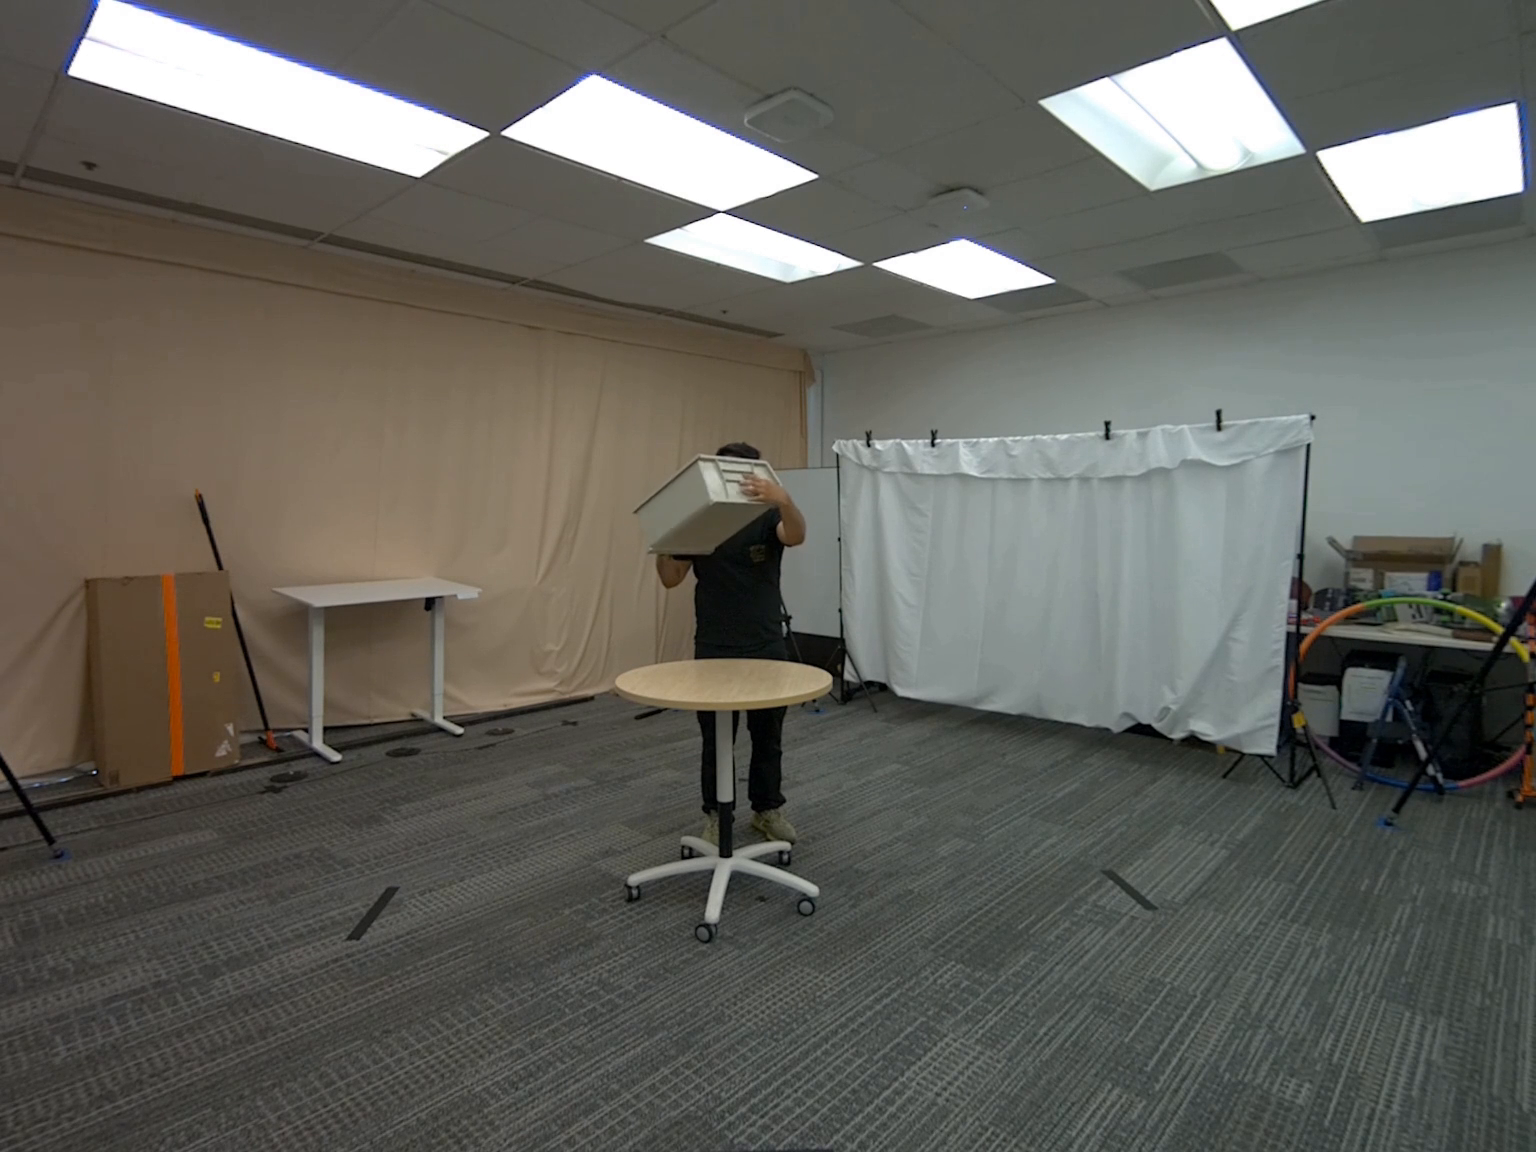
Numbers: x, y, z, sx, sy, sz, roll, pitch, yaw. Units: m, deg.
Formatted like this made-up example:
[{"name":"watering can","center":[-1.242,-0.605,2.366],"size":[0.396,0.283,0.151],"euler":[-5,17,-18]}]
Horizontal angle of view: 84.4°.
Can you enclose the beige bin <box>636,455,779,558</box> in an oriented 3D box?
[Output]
[{"name":"beige bin","center":[-0.221,-0.243,3.083],"size":[0.365,0.192,0.429],"euler":[-2,-22,-46]}]
